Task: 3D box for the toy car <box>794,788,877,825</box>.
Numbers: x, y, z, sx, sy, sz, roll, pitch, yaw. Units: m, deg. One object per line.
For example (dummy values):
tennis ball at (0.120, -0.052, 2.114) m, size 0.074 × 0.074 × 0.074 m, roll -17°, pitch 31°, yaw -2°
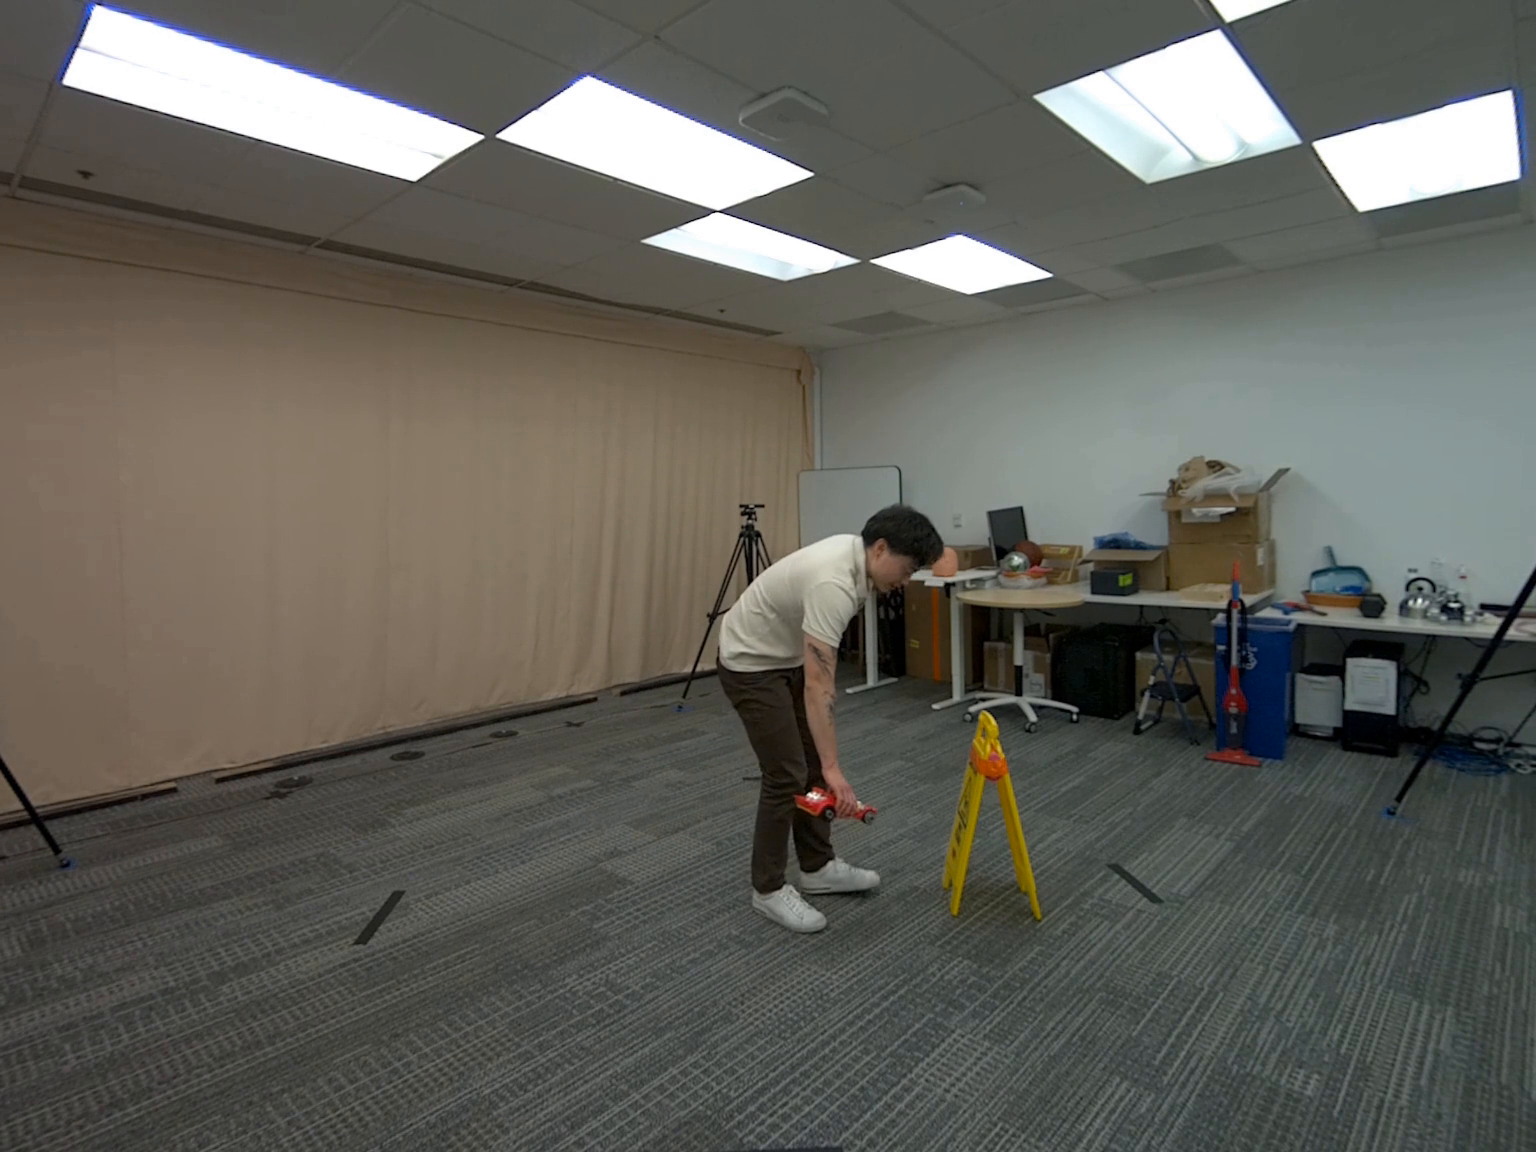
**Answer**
toy car at (0.201, 0.697, 2.522) m, size 0.248 × 0.083 × 0.133 m, roll 21°, pitch -10°, yaw -22°
